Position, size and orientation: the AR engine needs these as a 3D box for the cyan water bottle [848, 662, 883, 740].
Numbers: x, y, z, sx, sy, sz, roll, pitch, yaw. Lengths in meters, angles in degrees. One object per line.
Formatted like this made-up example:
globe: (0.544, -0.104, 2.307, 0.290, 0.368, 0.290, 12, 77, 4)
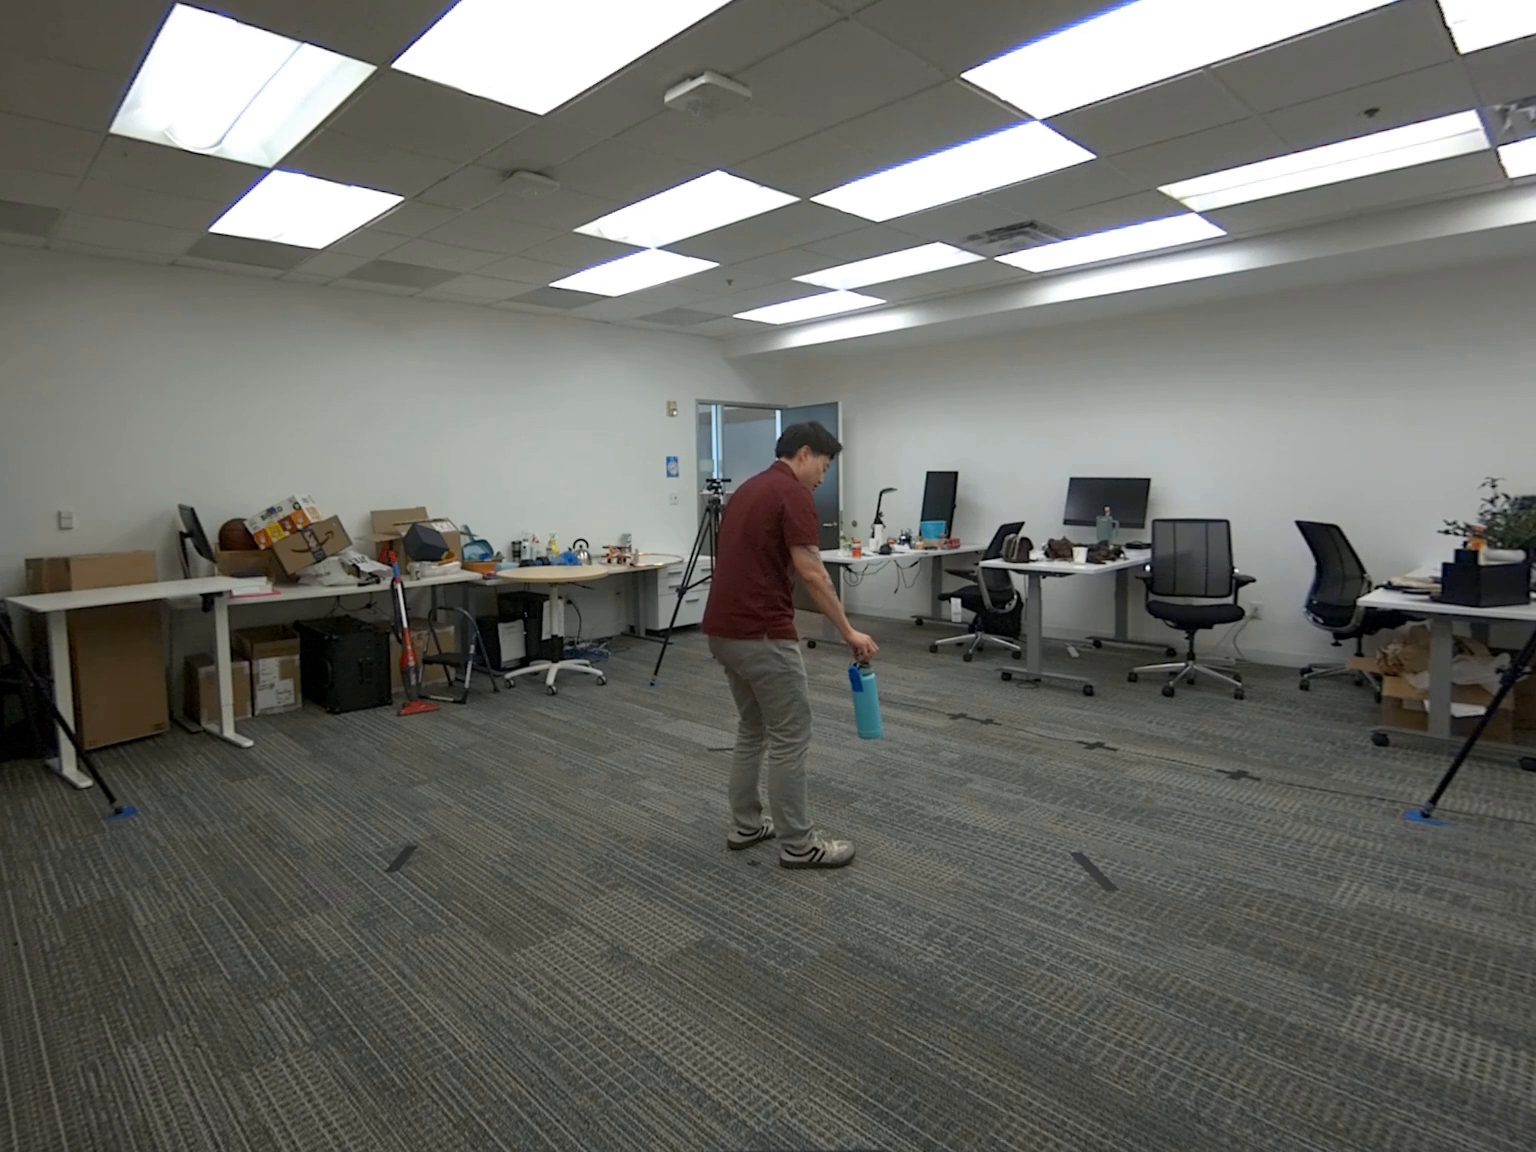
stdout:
cyan water bottle: (0.337, 0.434, 3.009, 0.092, 0.281, 0.093, -9, 7, 0)
